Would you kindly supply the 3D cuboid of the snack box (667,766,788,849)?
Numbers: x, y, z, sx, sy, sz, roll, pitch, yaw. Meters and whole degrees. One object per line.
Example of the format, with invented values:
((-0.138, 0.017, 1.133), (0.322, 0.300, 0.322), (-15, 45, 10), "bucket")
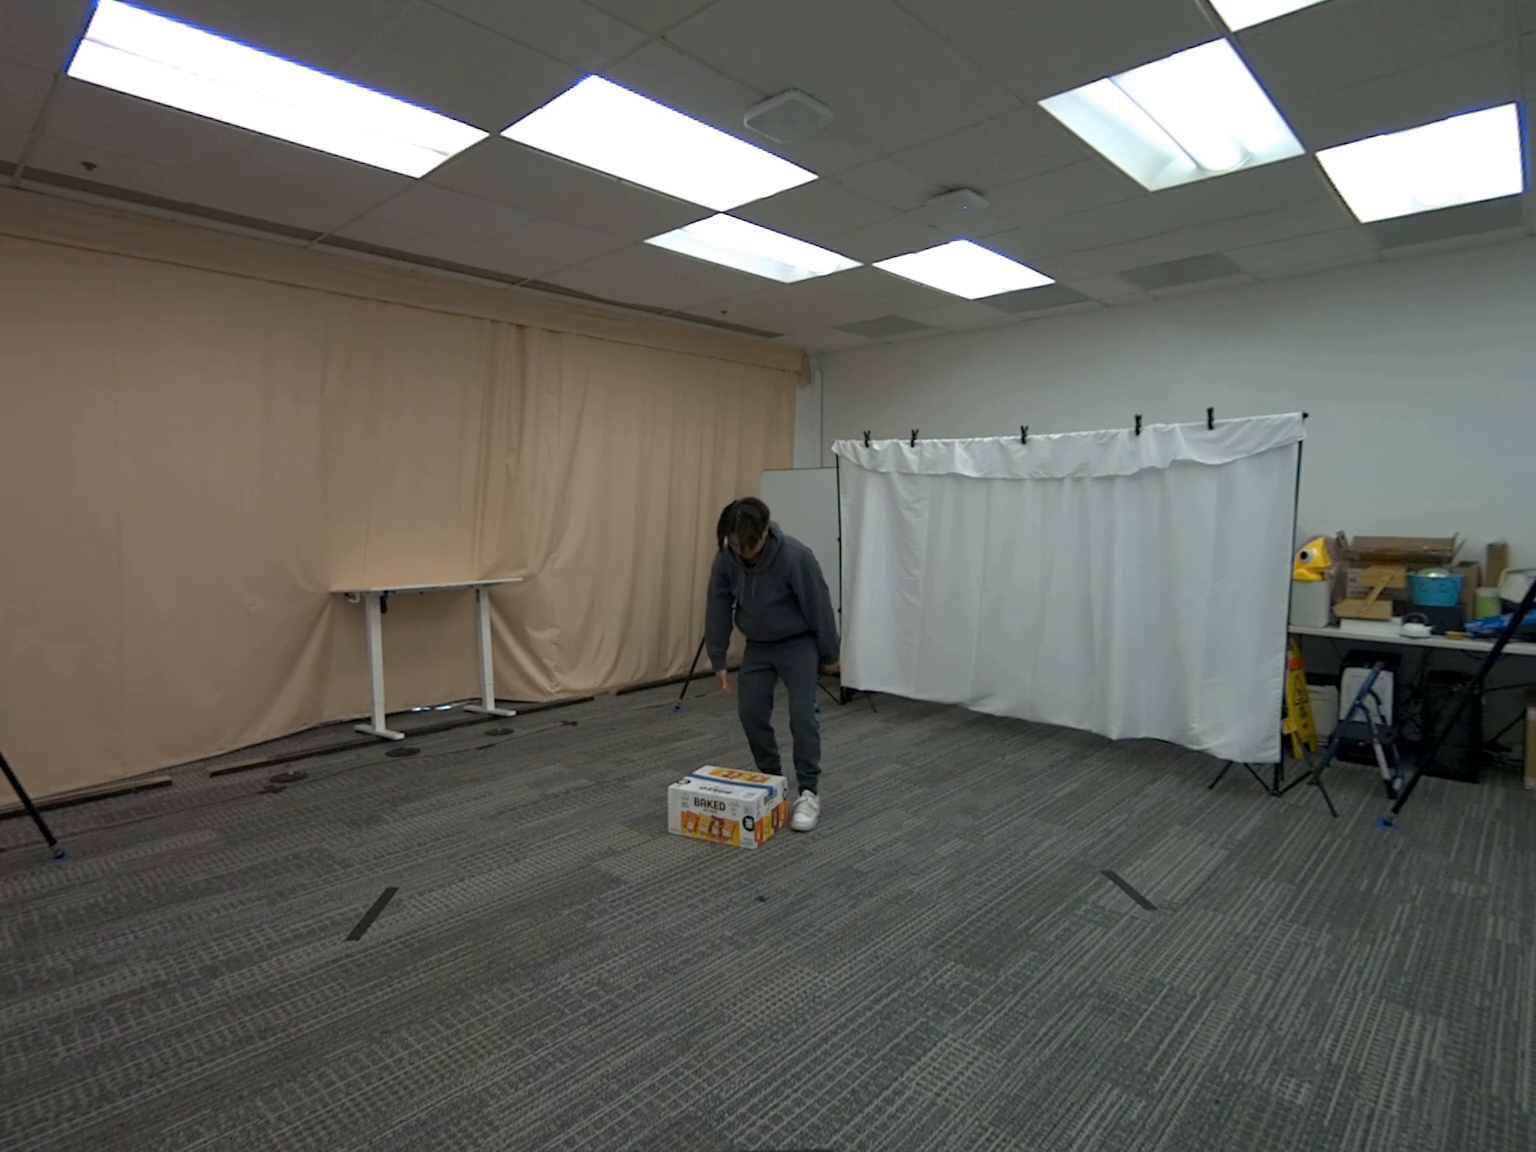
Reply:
((-0.170, 0.988, 3.637), (0.416, 0.205, 0.332), (2, 4, 26), "snack box")
